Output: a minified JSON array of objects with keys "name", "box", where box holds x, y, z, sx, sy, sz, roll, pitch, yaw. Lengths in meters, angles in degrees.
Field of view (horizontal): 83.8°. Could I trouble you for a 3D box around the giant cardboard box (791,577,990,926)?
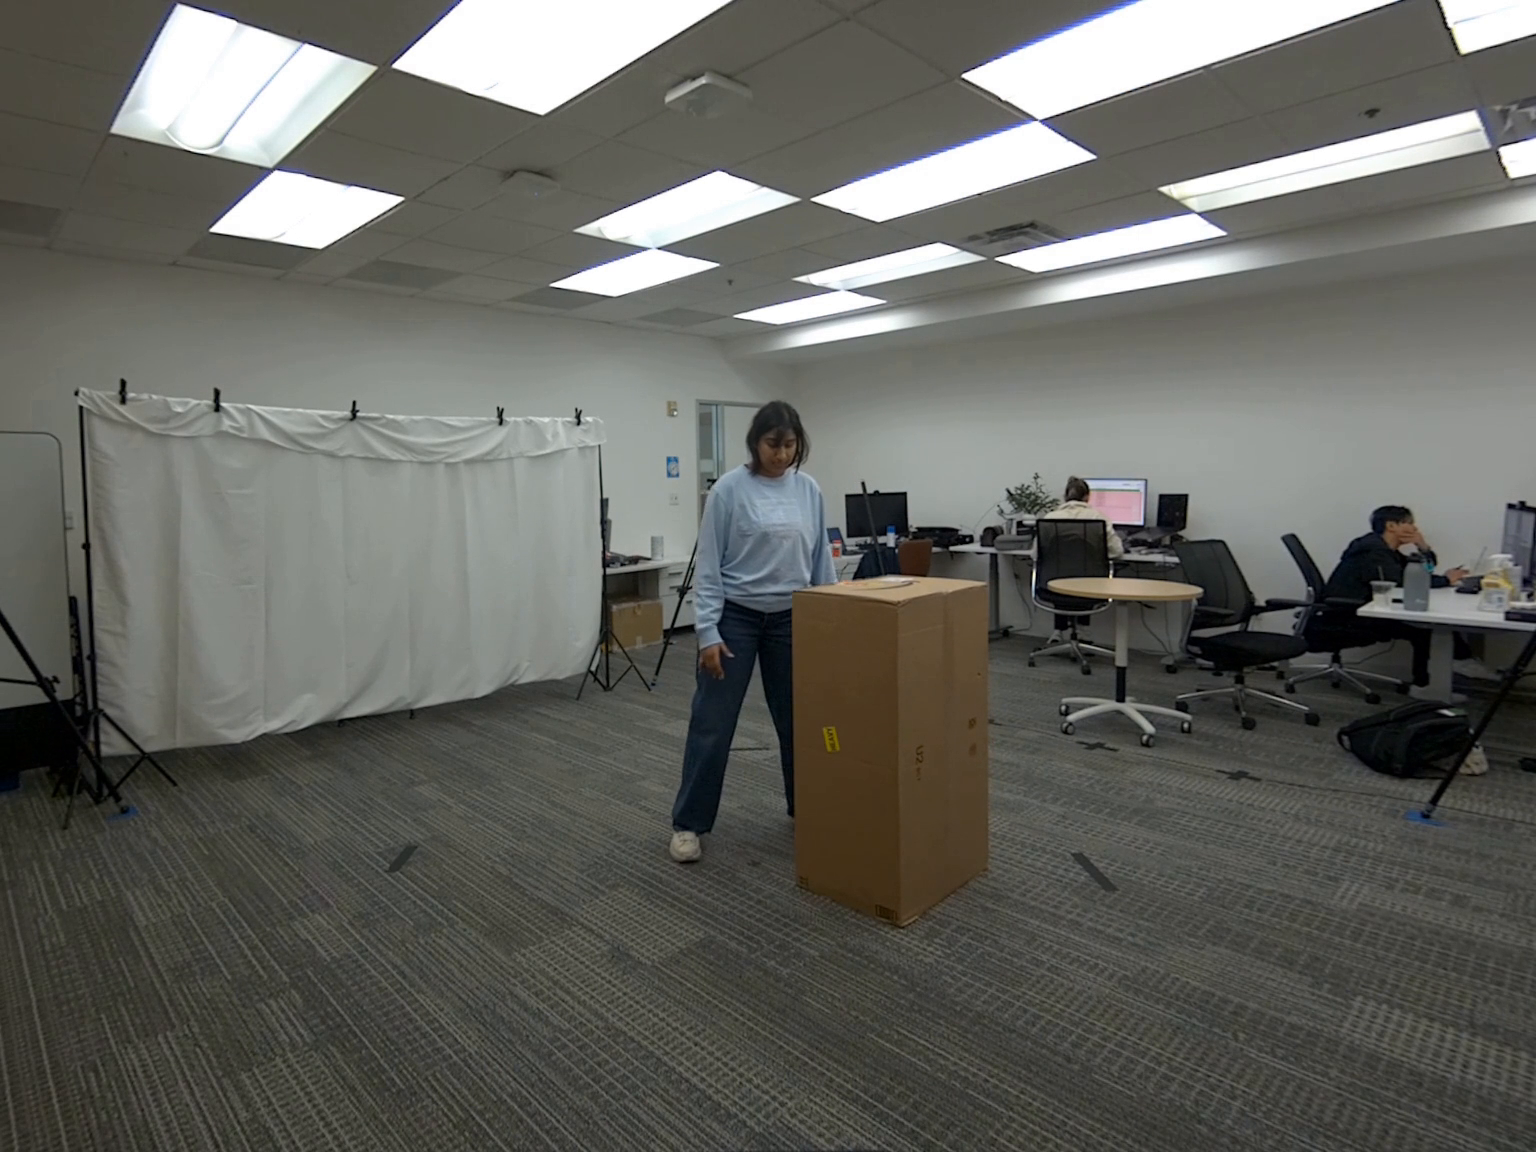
[{"name":"giant cardboard box","box":[0.438,0.544,2.952,0.460,1.024,0.568,2,5,45]}]
